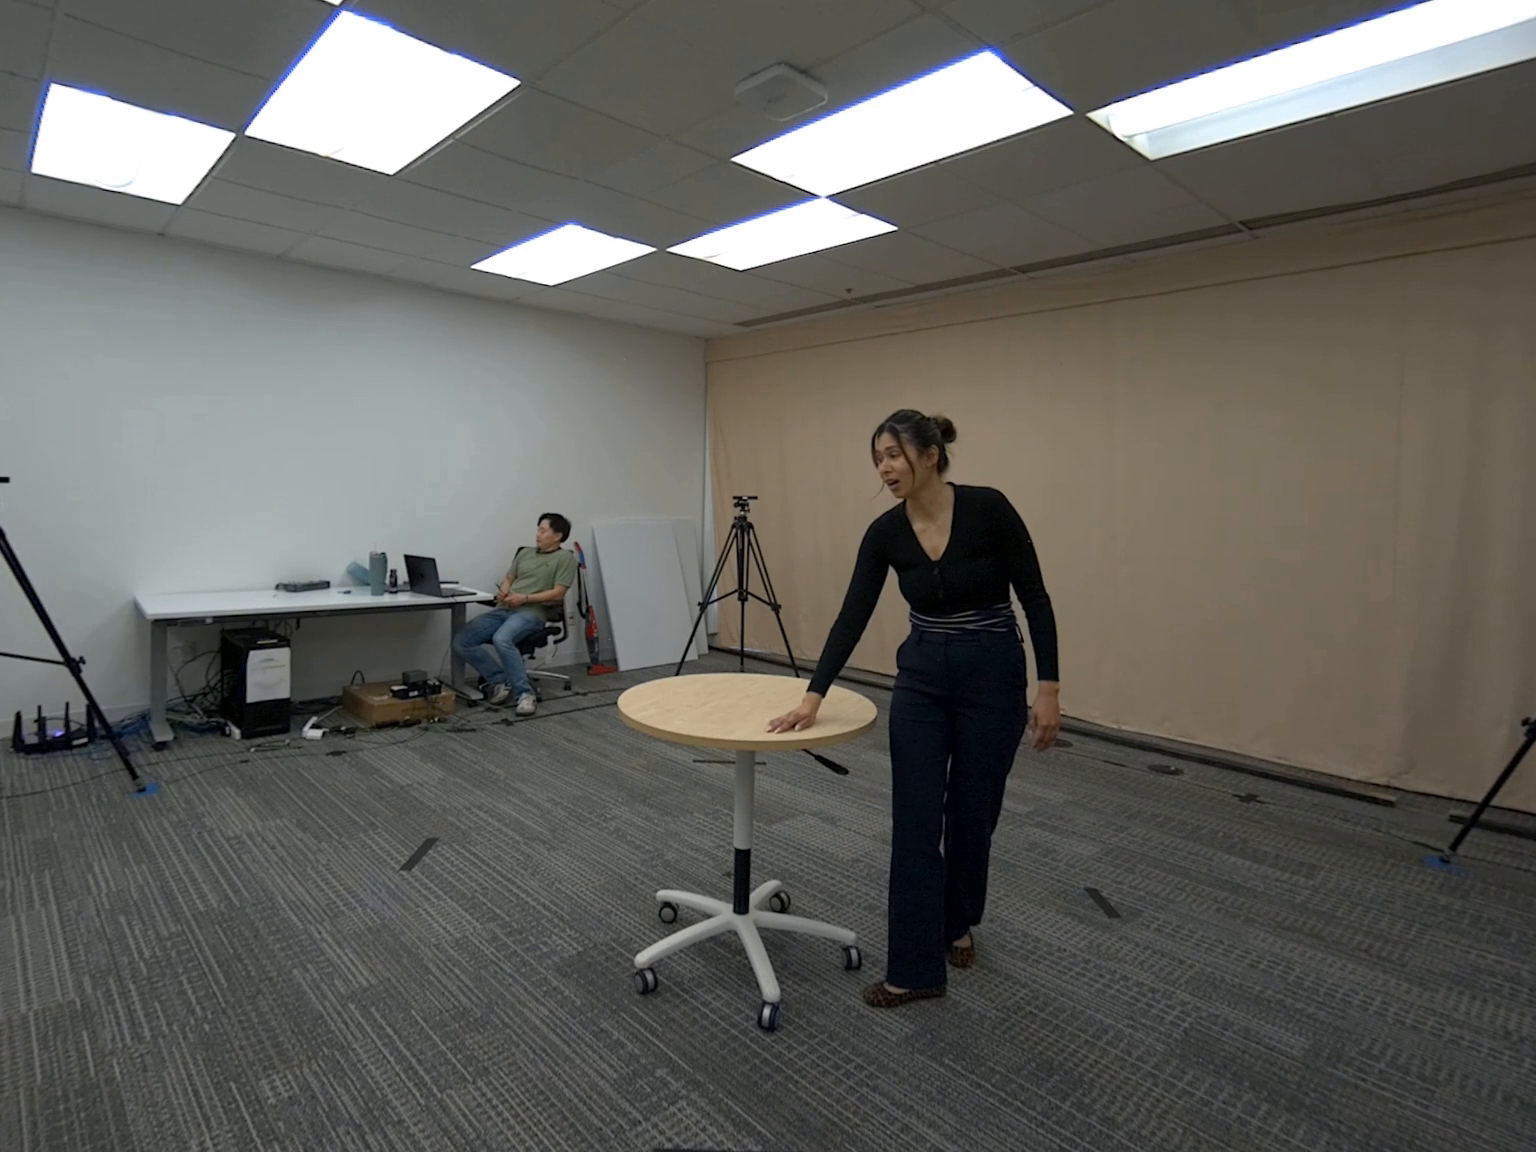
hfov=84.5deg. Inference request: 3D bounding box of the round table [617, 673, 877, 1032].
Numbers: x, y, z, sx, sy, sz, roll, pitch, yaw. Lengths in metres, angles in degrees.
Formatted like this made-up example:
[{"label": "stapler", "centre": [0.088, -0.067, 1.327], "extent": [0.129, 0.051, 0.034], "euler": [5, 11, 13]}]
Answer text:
[{"label": "round table", "centre": [-0.081, 0.770, 2.530], "extent": [0.763, 0.791, 0.767], "euler": [2, 5, -2]}]
